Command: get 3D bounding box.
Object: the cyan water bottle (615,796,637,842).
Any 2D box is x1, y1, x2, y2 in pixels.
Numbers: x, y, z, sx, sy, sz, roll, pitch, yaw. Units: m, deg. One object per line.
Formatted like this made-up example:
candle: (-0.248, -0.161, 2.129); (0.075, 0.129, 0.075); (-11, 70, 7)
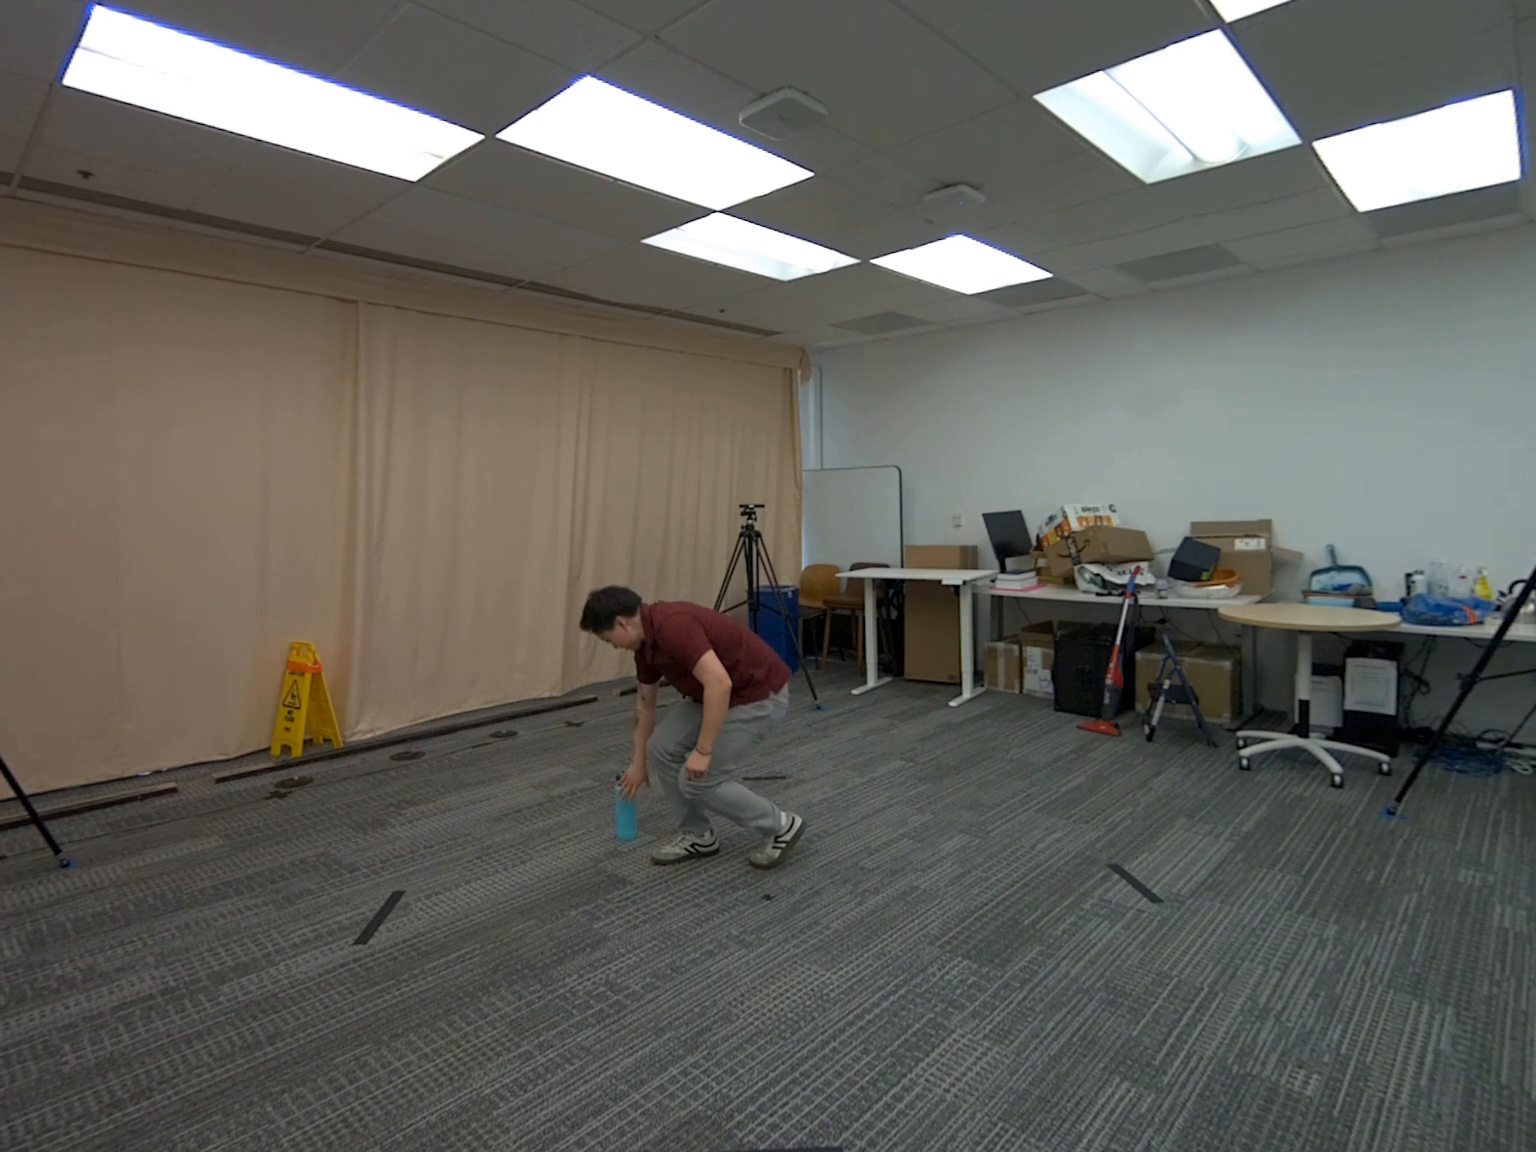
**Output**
cyan water bottle: (-0.608, 0.966, 3.564); (0.092, 0.283, 0.092); (-3, 1, -2)
